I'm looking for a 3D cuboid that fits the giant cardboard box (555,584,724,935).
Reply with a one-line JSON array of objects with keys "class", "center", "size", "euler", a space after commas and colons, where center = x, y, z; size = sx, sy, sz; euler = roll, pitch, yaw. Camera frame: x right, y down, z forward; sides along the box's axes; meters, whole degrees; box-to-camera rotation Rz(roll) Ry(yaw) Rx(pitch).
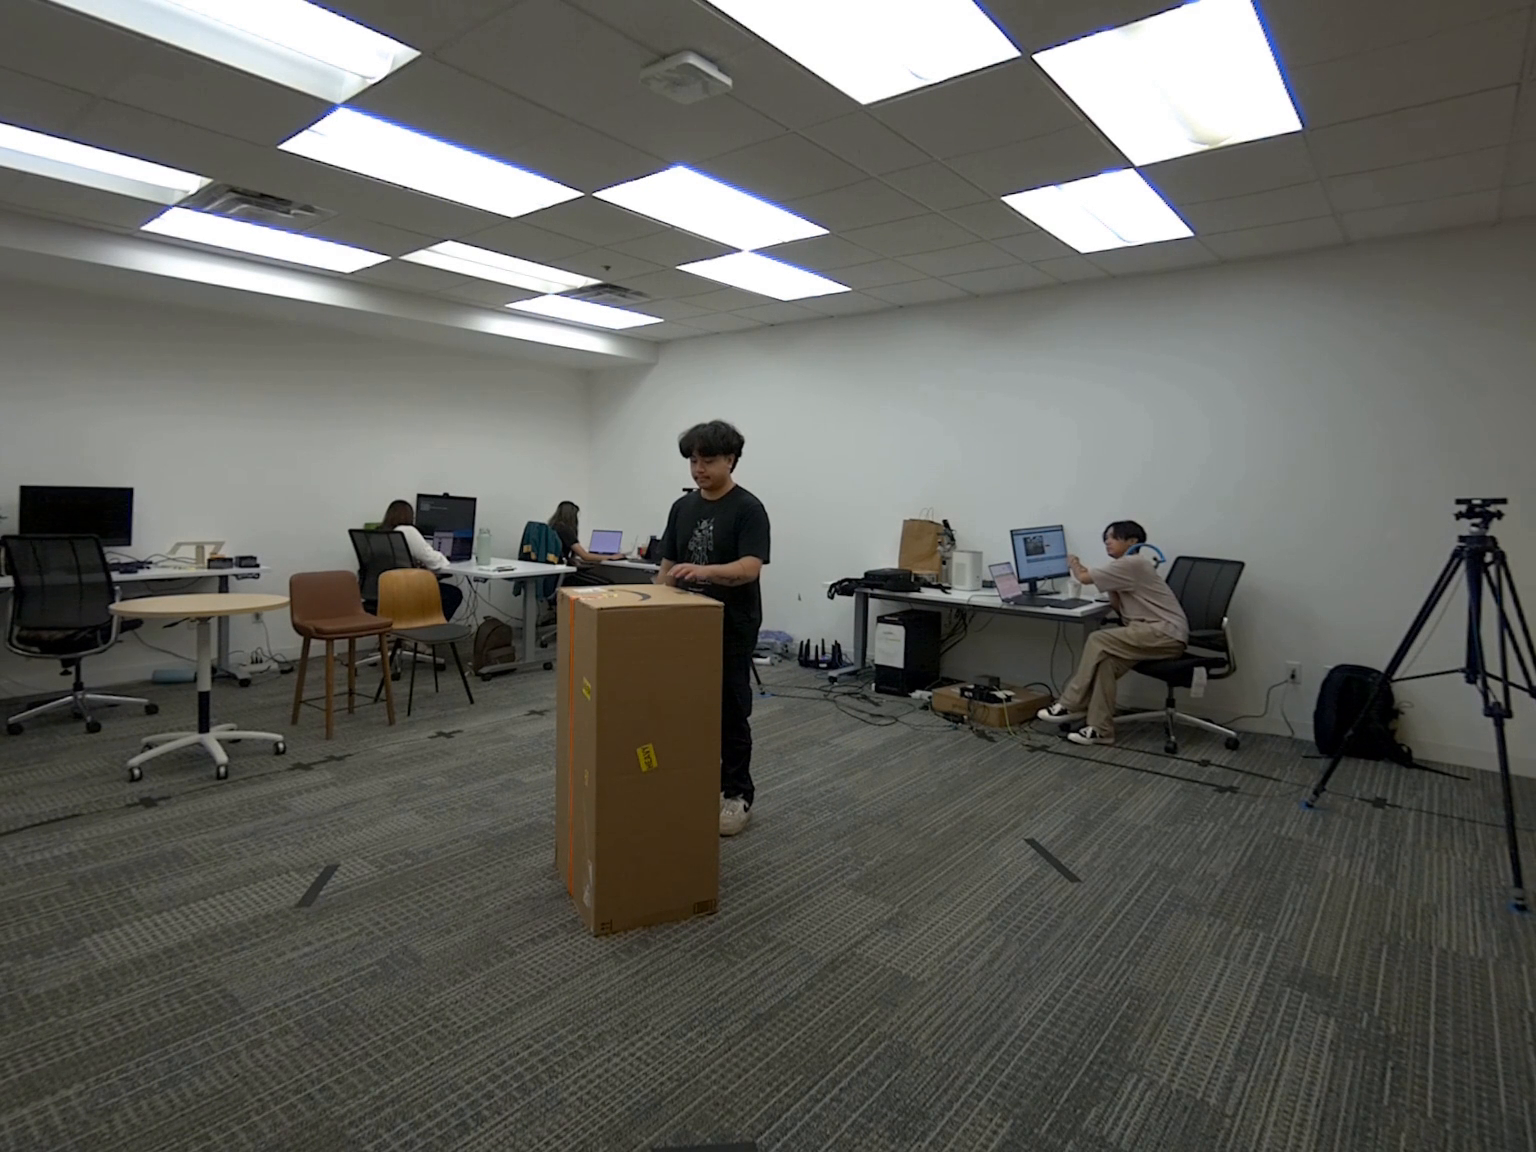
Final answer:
[{"class": "giant cardboard box", "center": [-0.480, 0.569, 2.939], "size": [0.436, 1.024, 0.599], "euler": [-1, 4, -25]}]
